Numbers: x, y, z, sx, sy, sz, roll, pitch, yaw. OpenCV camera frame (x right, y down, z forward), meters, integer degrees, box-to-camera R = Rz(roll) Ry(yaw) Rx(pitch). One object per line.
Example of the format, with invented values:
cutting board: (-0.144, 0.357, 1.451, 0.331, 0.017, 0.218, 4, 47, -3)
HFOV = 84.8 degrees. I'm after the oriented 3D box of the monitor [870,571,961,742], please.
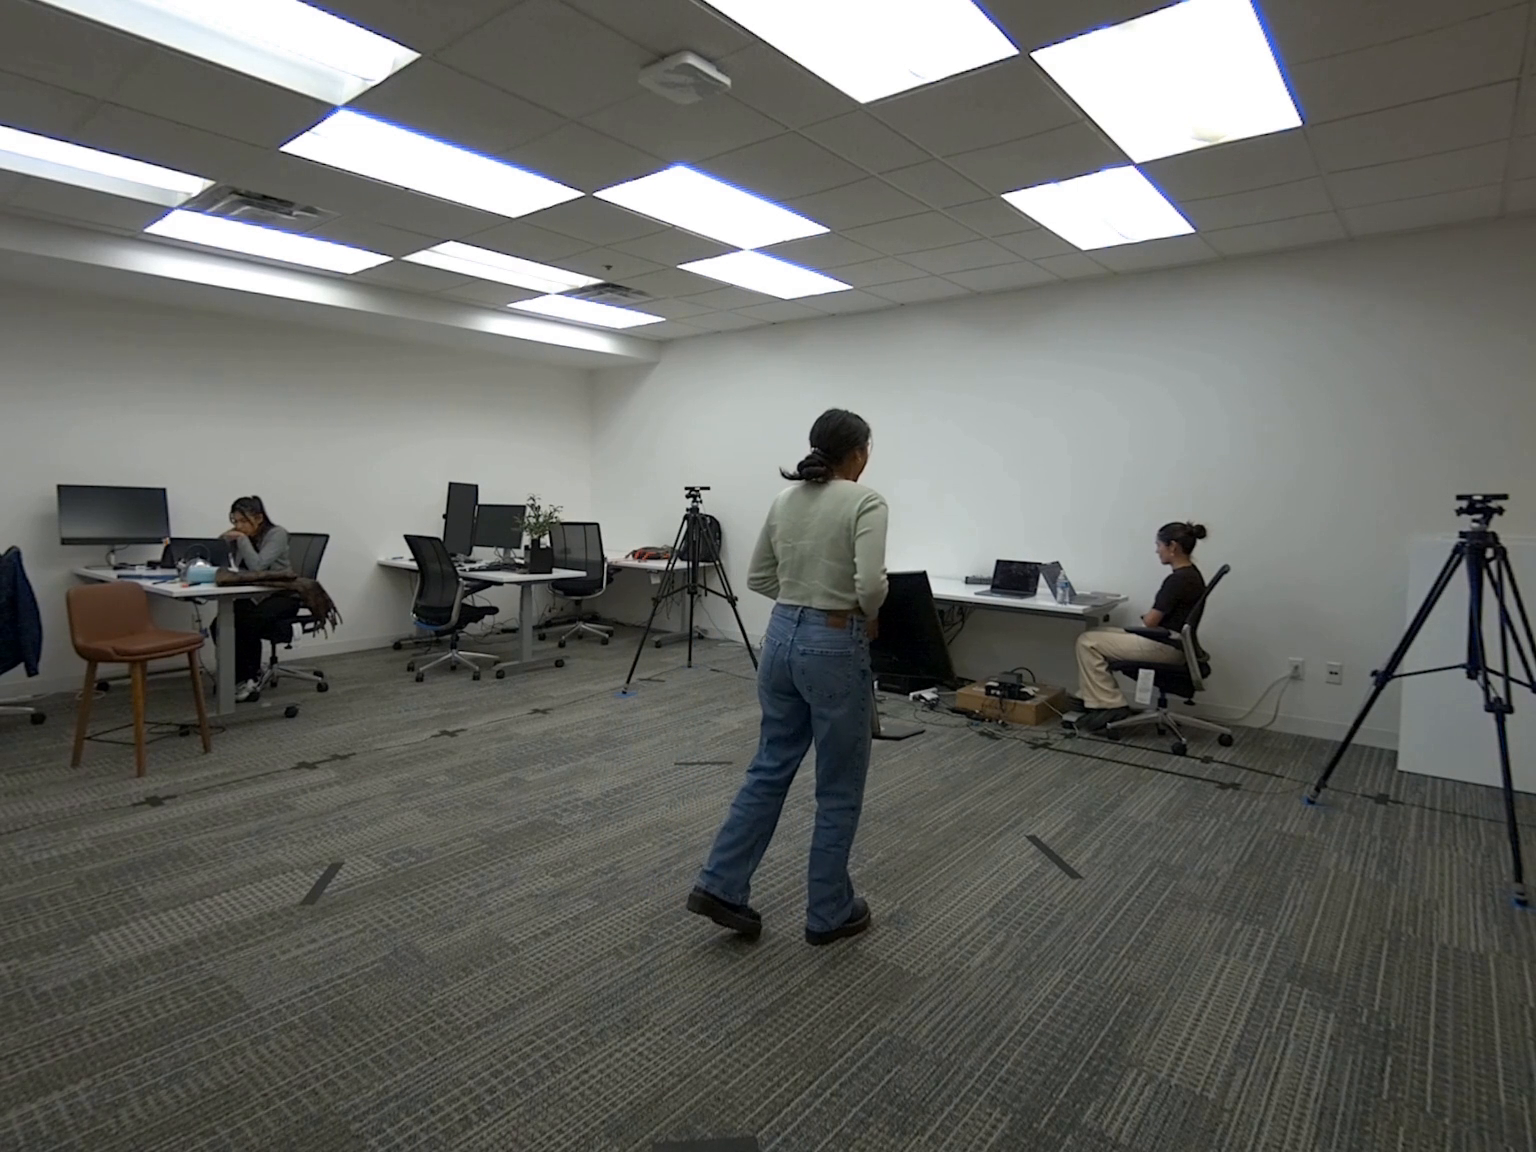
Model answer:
monitor: (0.337, 0.239, 2.733, 0.169, 0.518, 0.545, 0, -4, -40)
